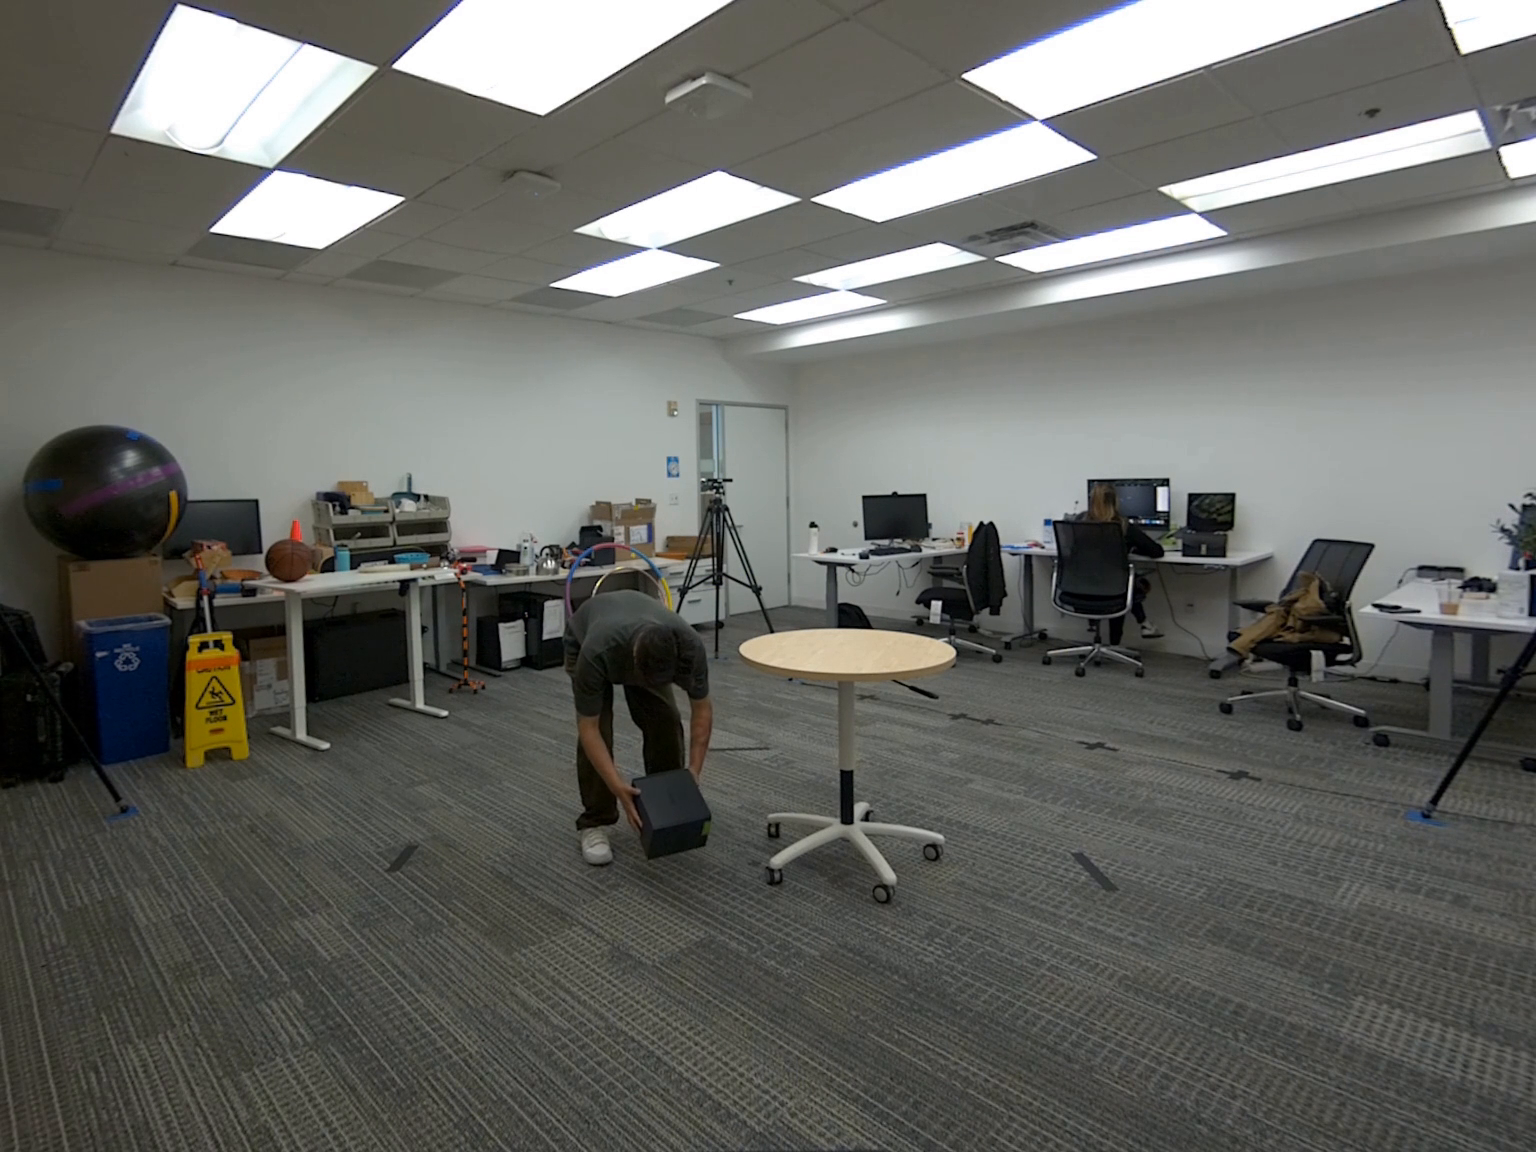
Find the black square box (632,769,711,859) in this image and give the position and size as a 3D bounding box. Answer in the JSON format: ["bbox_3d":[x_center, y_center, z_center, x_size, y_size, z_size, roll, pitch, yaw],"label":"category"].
[{"bbox_3d":[-0.335,0.828,2.953,0.212,0.153,0.237,-5,34,-25],"label":"black square box"}]
